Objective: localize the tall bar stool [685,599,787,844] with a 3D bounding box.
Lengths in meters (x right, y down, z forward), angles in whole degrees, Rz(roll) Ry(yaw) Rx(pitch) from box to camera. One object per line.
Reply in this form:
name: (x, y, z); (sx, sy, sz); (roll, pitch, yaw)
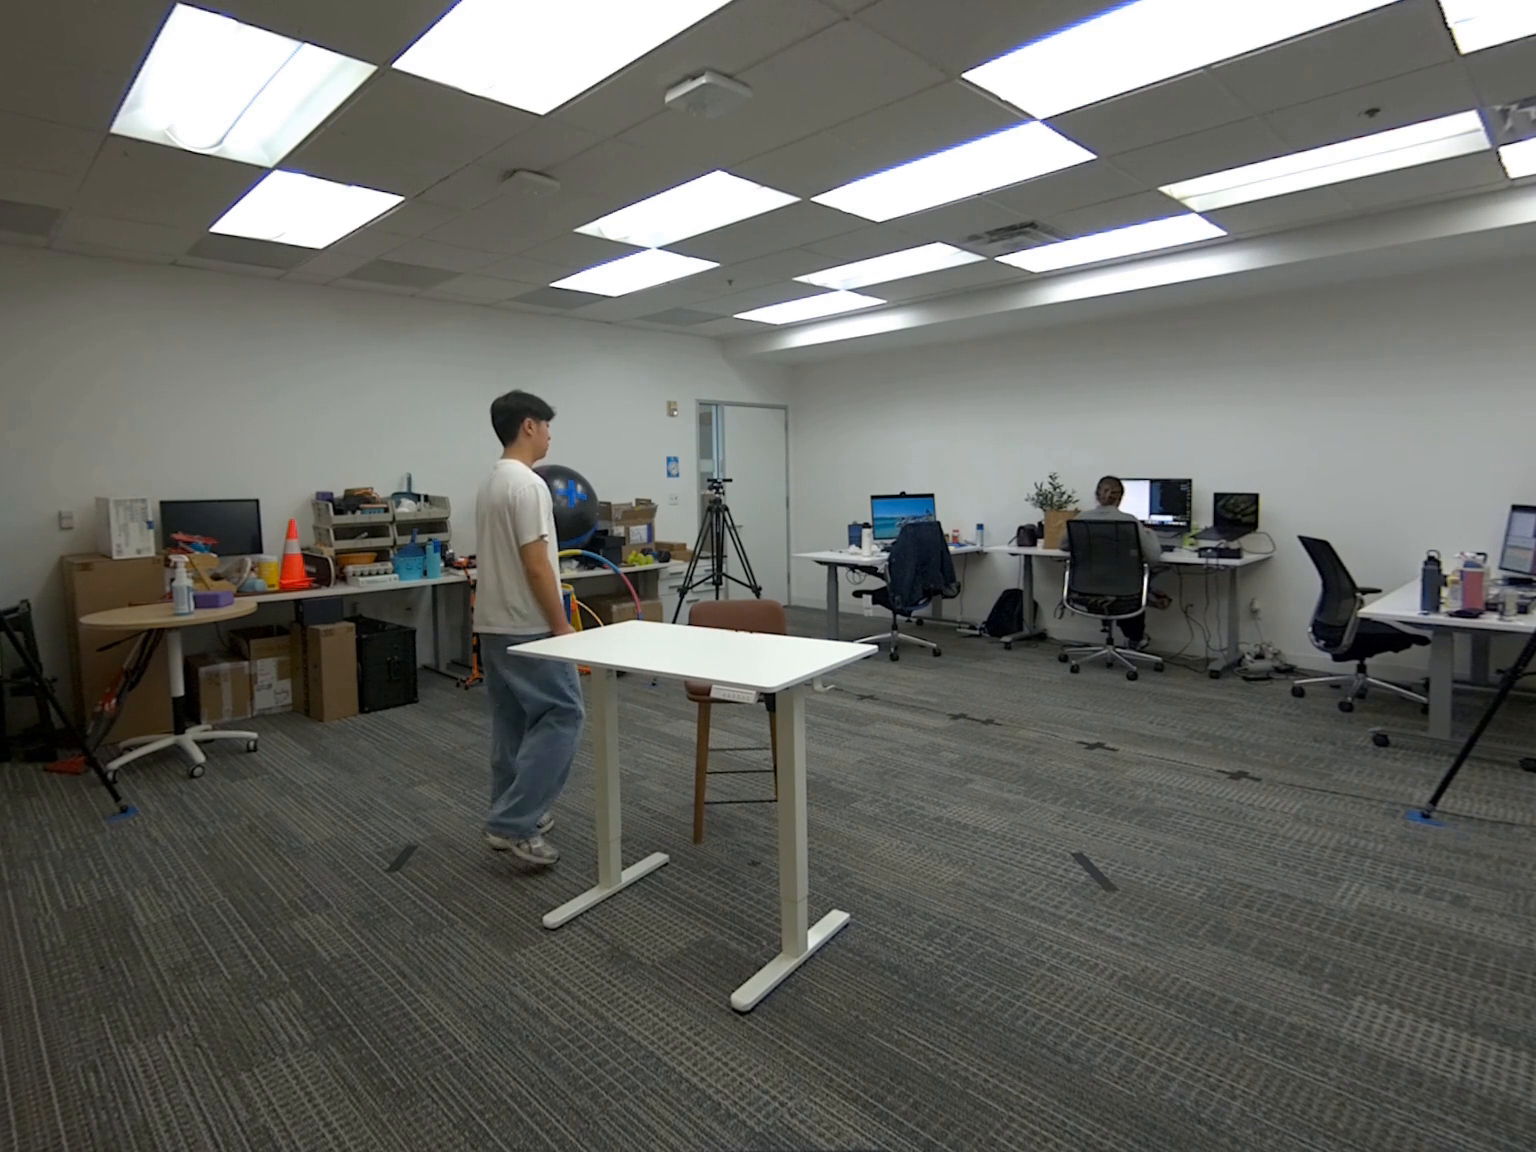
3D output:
tall bar stool: (-0.108, 0.568, 3.491); (0.455, 0.888, 0.470); (-1, 2, -5)
